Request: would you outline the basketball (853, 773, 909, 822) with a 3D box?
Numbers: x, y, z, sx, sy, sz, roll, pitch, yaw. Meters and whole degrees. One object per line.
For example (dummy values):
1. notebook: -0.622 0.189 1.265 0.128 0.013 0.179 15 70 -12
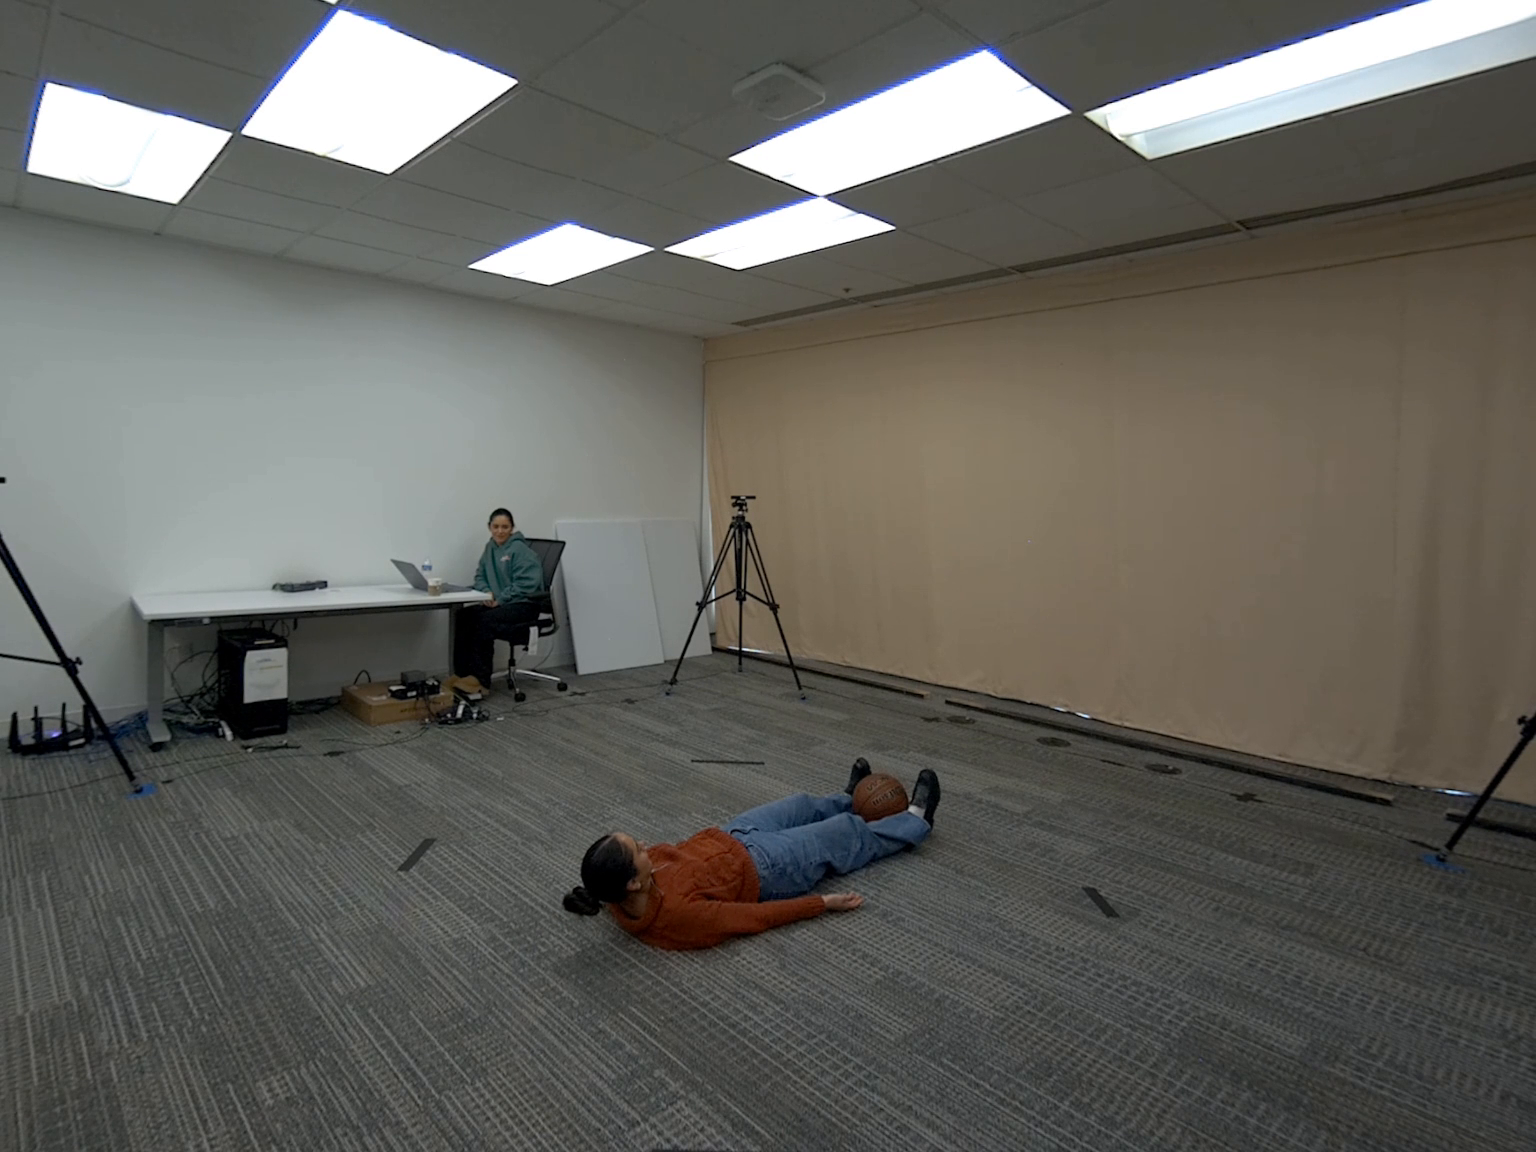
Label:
1. basketball: 0.468 0.961 3.571 0.236 0.235 0.237 1 4 -1
